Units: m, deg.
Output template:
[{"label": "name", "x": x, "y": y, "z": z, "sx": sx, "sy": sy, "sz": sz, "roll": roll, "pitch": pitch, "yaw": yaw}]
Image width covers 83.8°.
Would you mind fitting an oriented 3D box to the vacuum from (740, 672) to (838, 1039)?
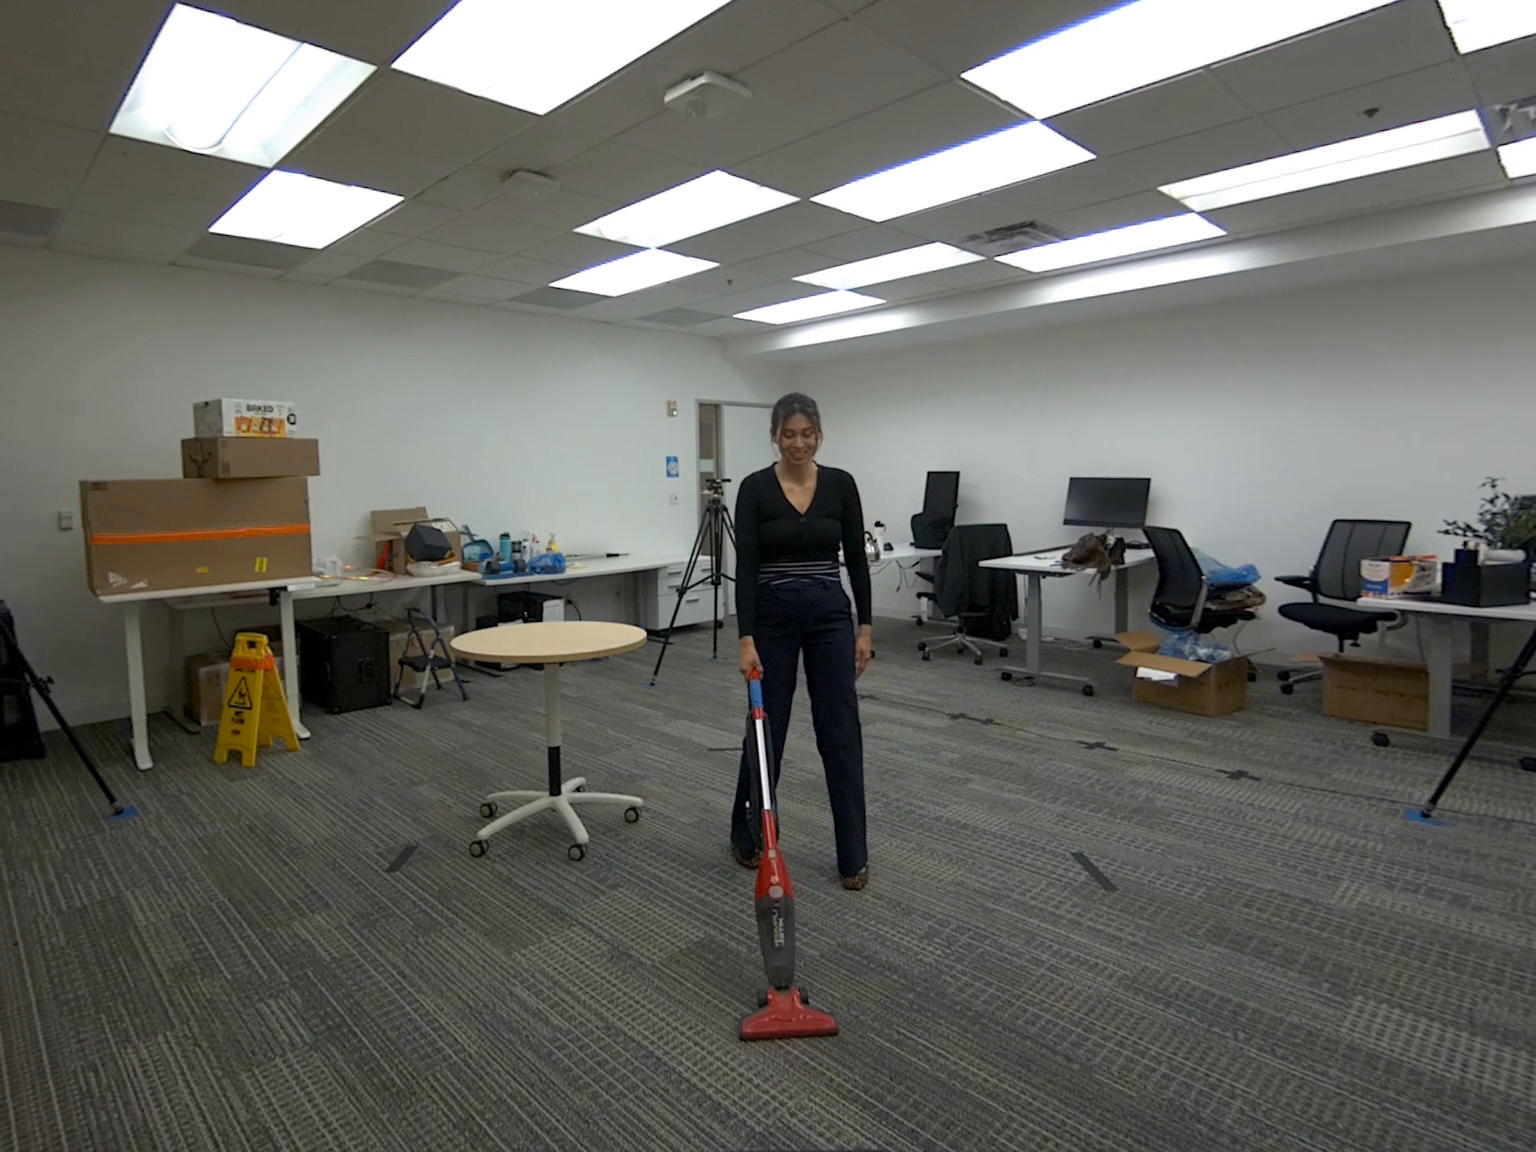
[{"label": "vacuum", "x": -0.006, "y": 0.725, "z": 2.537, "sx": 0.251, "sy": 1.080, "sz": 0.140, "roll": -2, "pitch": -39, "yaw": -7}]
